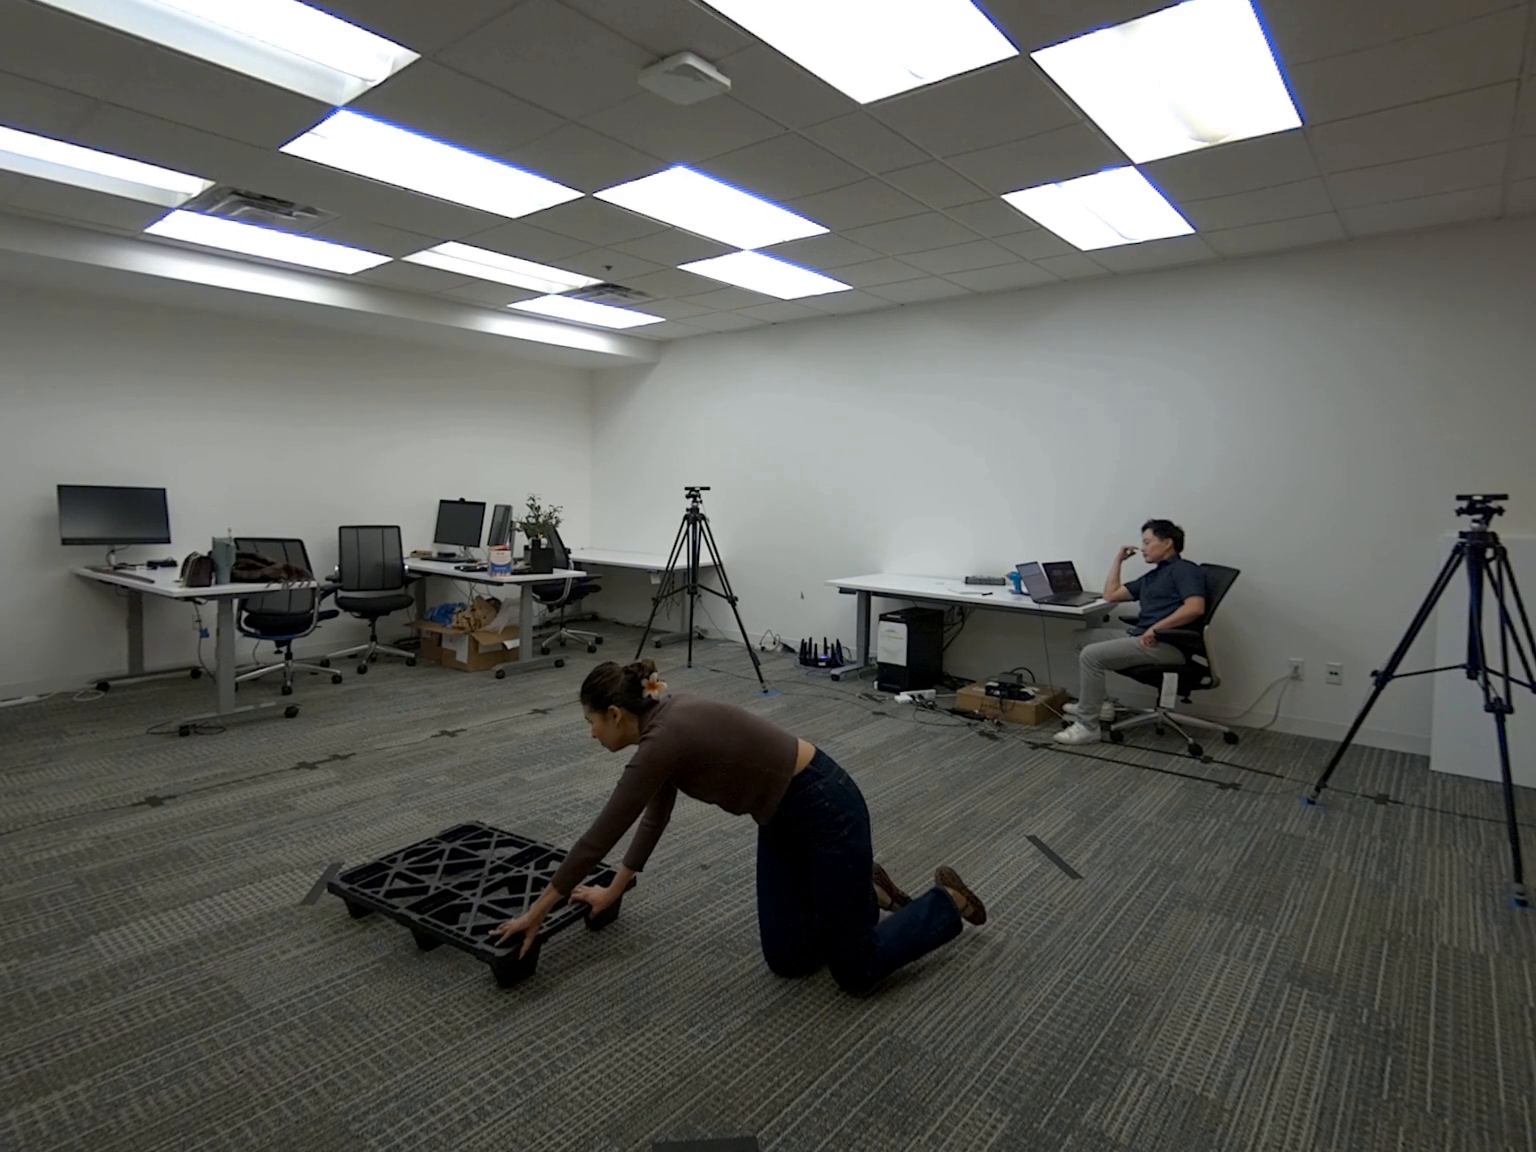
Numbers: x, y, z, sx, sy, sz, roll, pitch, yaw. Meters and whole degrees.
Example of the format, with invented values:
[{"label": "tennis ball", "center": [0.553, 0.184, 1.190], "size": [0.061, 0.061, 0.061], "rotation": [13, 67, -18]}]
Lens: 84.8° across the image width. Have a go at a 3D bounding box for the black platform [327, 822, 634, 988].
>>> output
[{"label": "black platform", "center": [-0.919, 1.029, 2.723], "size": [0.830, 0.142, 0.590], "rotation": [4, 7, 31]}]
